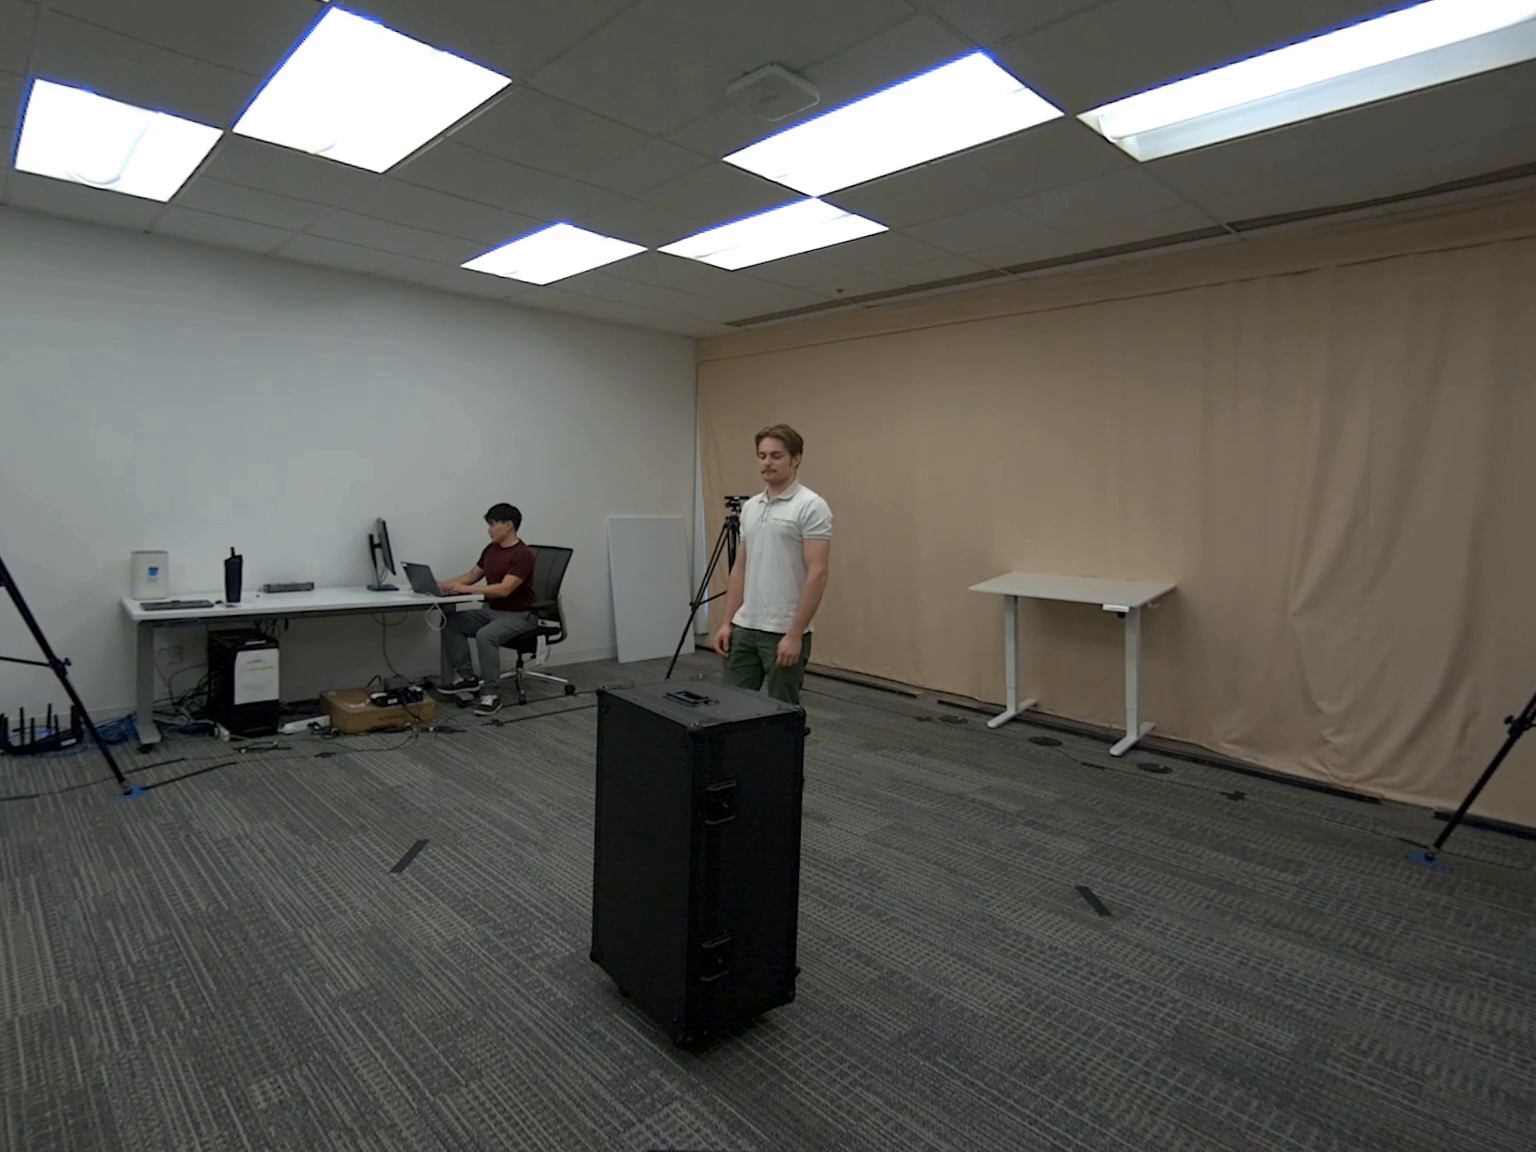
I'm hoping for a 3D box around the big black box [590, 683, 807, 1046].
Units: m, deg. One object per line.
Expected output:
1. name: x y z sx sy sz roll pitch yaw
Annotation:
1. big black box: -0.213 0.758 2.289 0.376 0.867 0.536 0 4 -38
